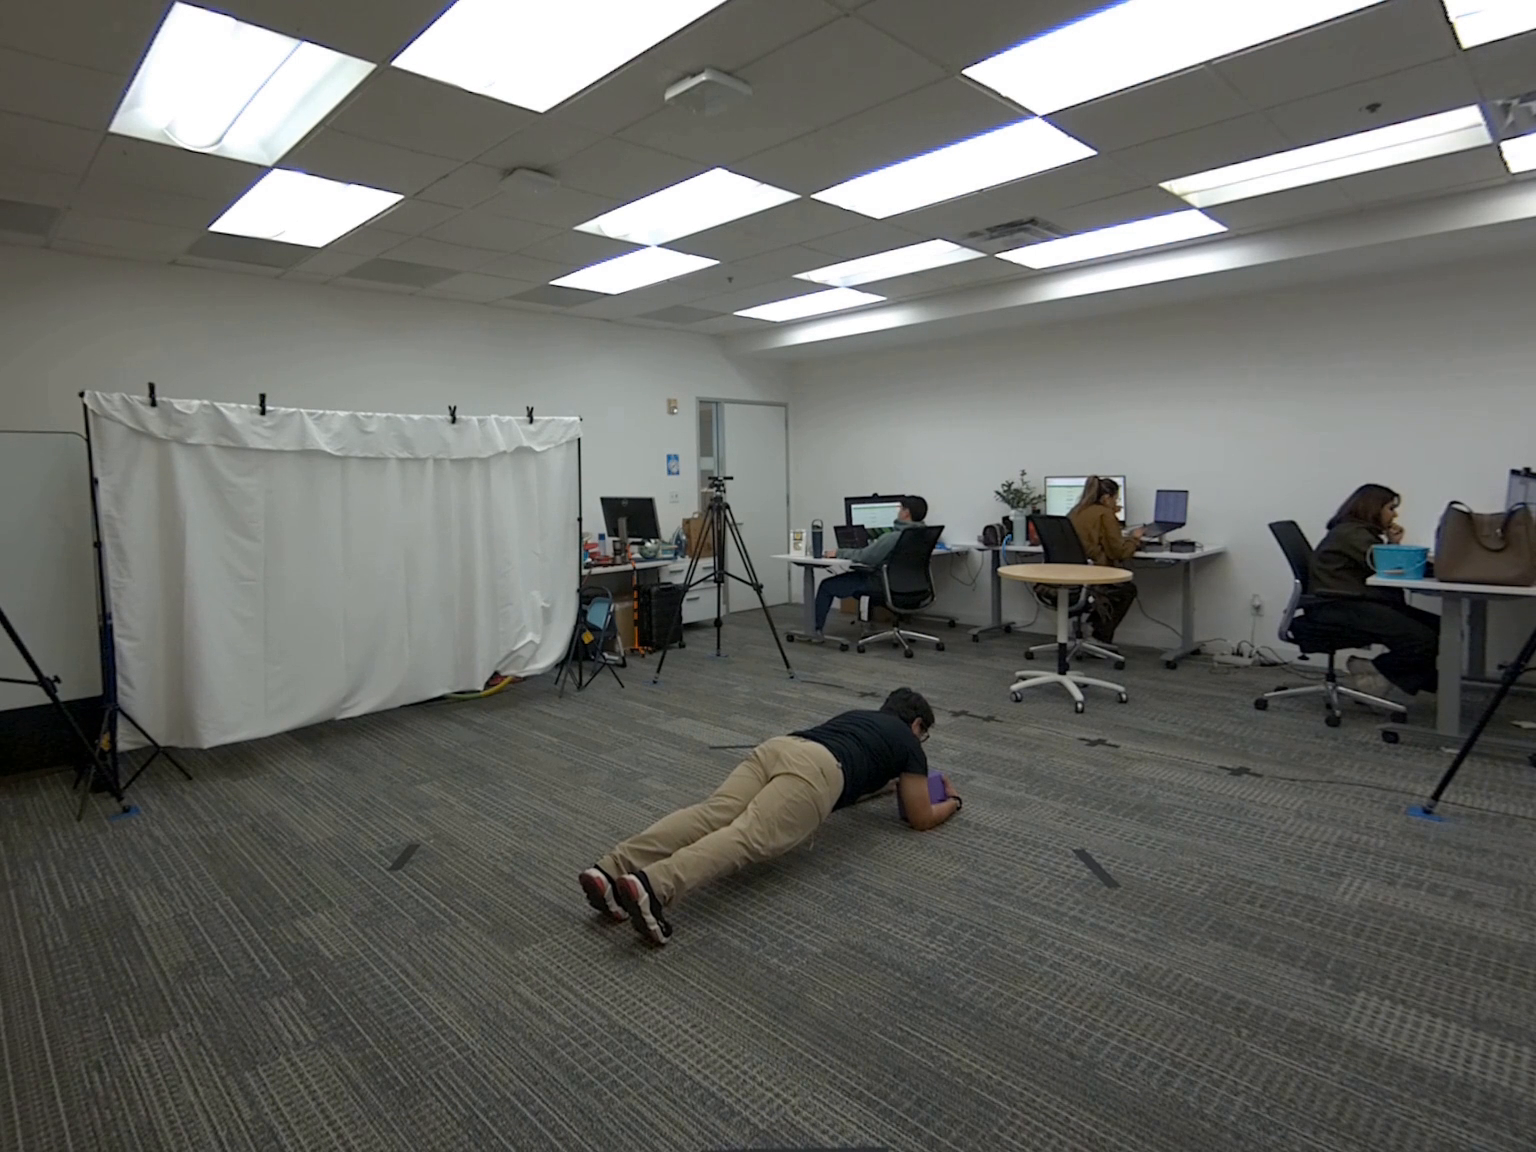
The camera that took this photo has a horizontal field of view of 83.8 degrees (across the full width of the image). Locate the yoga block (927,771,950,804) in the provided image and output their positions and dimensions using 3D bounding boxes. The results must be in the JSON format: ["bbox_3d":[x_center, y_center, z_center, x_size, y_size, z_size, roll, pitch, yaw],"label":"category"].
[{"bbox_3d":[0.642,0.900,3.516,0.223,0.149,0.078,-3,-2,-38],"label":"yoga block"}]
